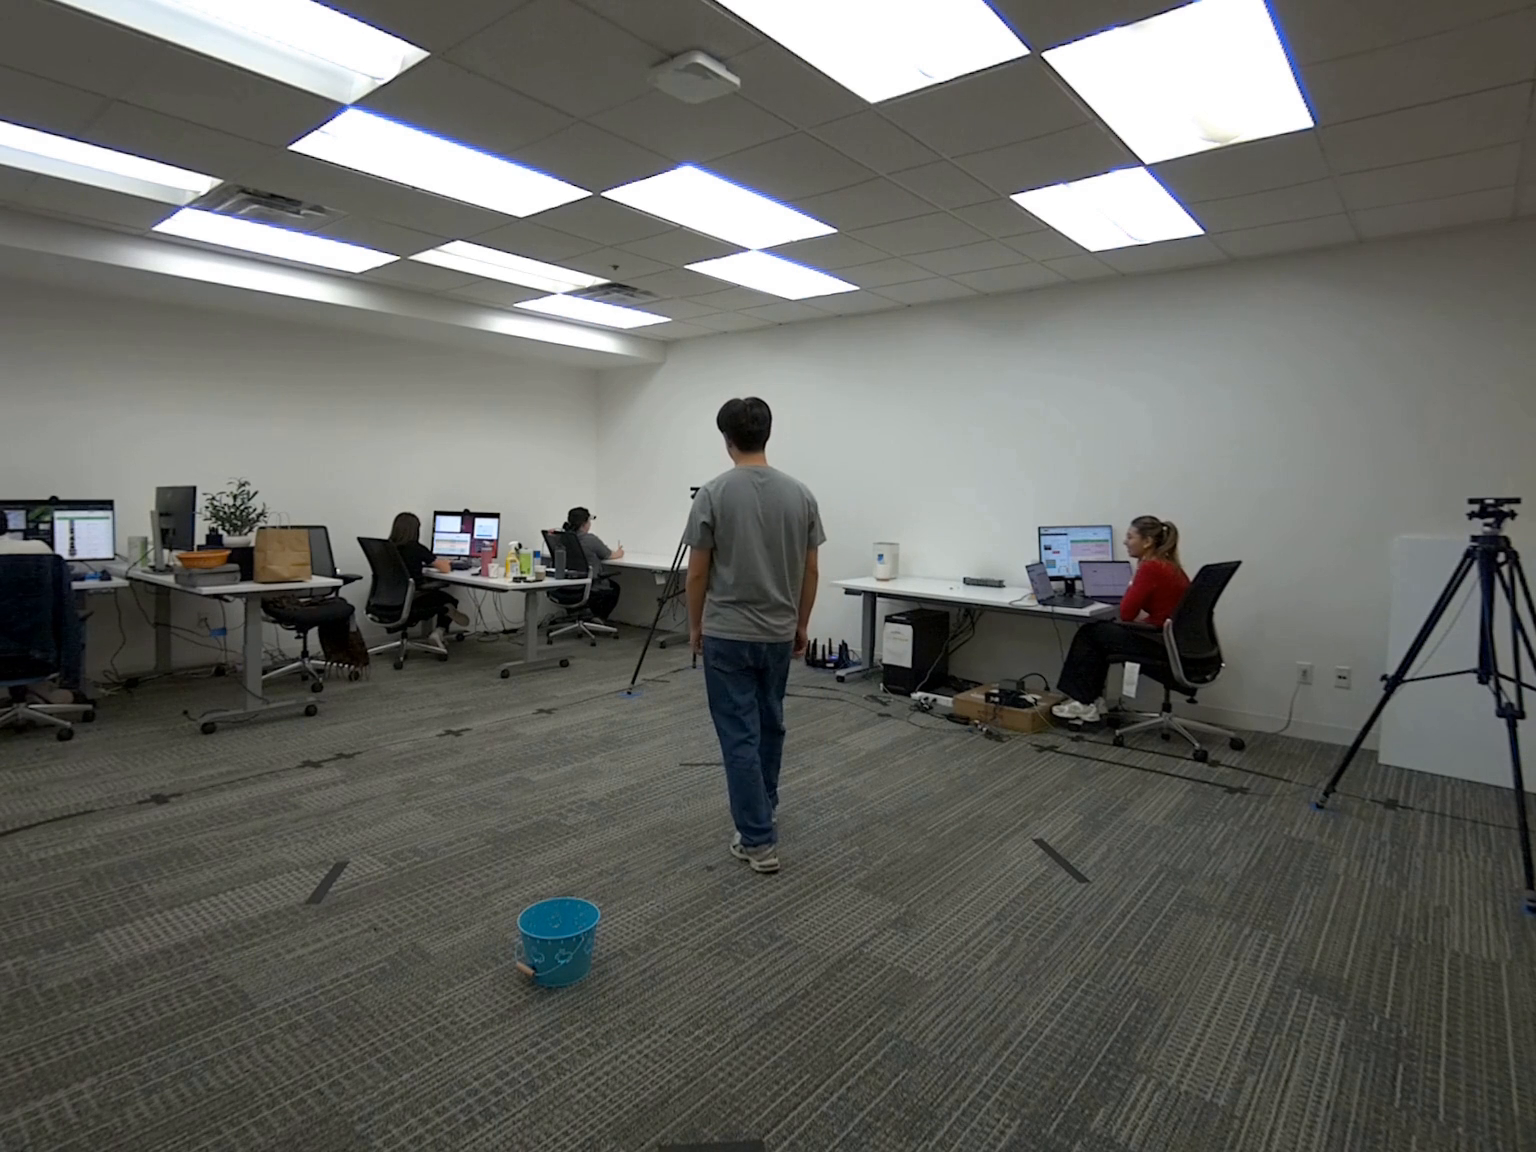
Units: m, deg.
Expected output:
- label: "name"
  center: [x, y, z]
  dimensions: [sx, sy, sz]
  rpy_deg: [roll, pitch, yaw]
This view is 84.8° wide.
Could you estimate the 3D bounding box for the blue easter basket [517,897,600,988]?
- label: "blue easter basket"
  center: [-0.613, 1.045, 2.441]
  dimensions: [0.243, 0.155, 0.245]
  rpy_deg: [1, 4, -2]
